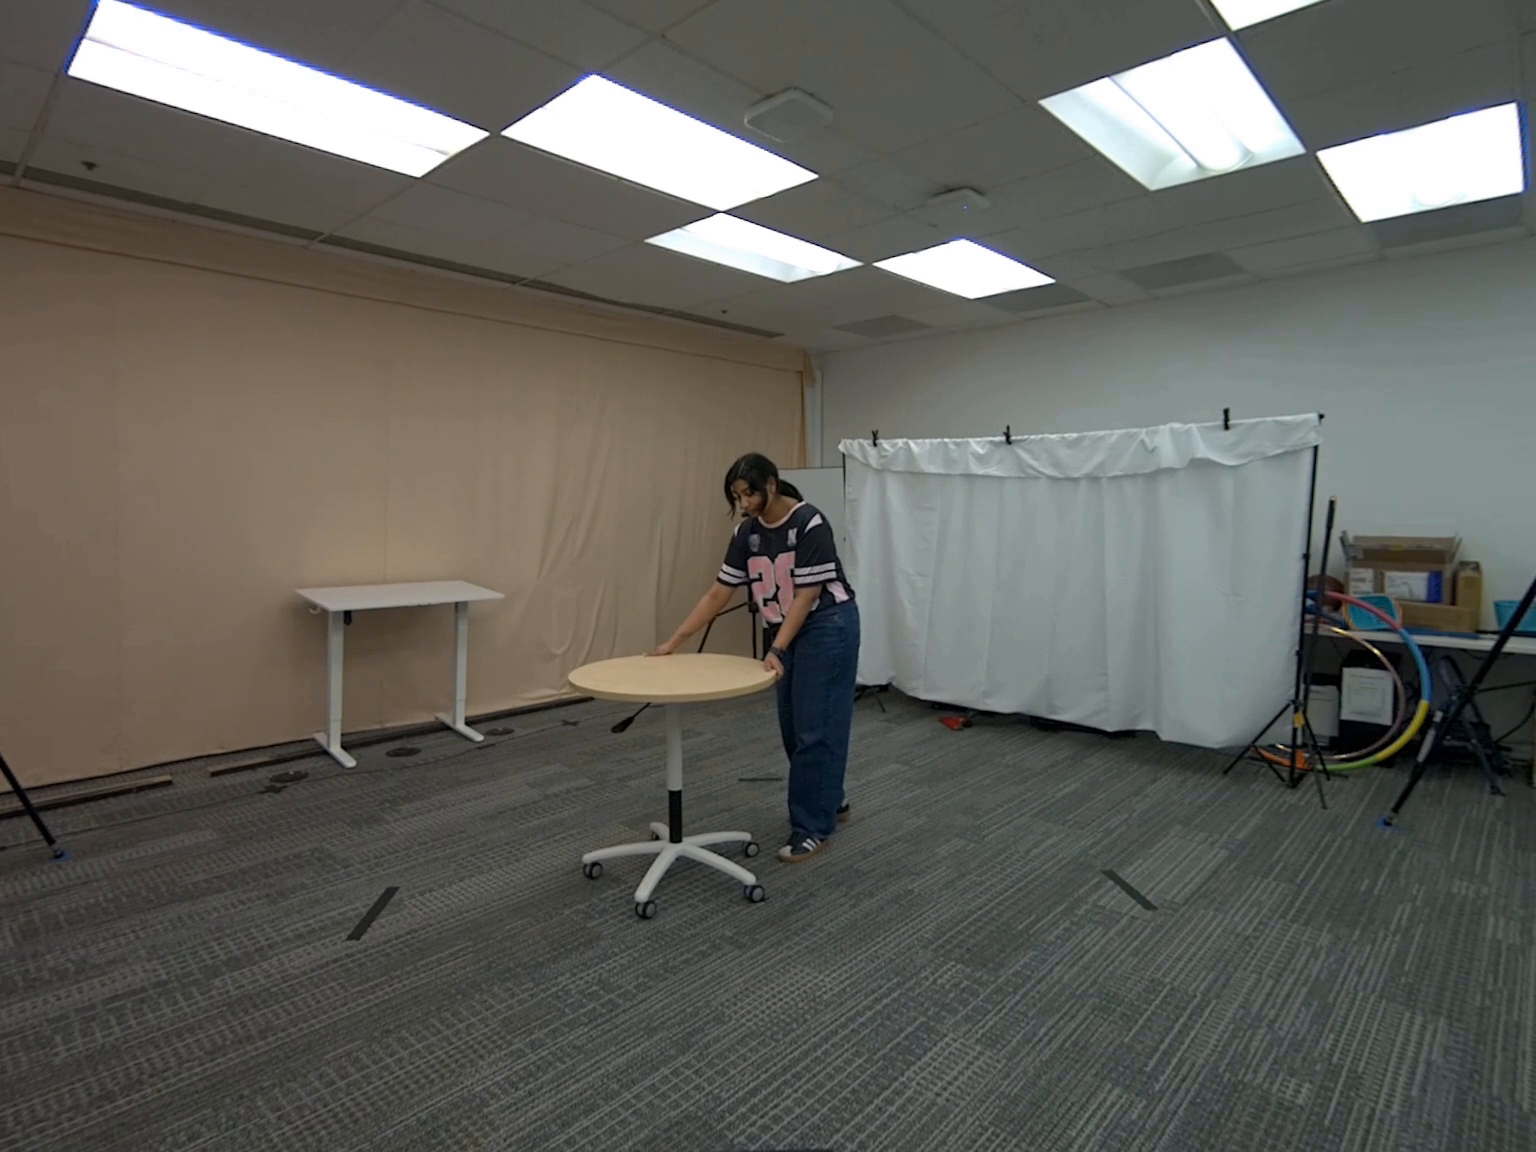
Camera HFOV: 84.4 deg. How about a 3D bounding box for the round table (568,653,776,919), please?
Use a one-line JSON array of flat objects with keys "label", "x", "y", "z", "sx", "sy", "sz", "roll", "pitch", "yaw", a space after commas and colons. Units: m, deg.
[{"label": "round table", "x": -0.326, "y": 0.739, "z": 3.143, "sx": 0.784, "sy": 0.784, "sz": 0.788, "roll": -1, "pitch": 4, "yaw": -2}]
